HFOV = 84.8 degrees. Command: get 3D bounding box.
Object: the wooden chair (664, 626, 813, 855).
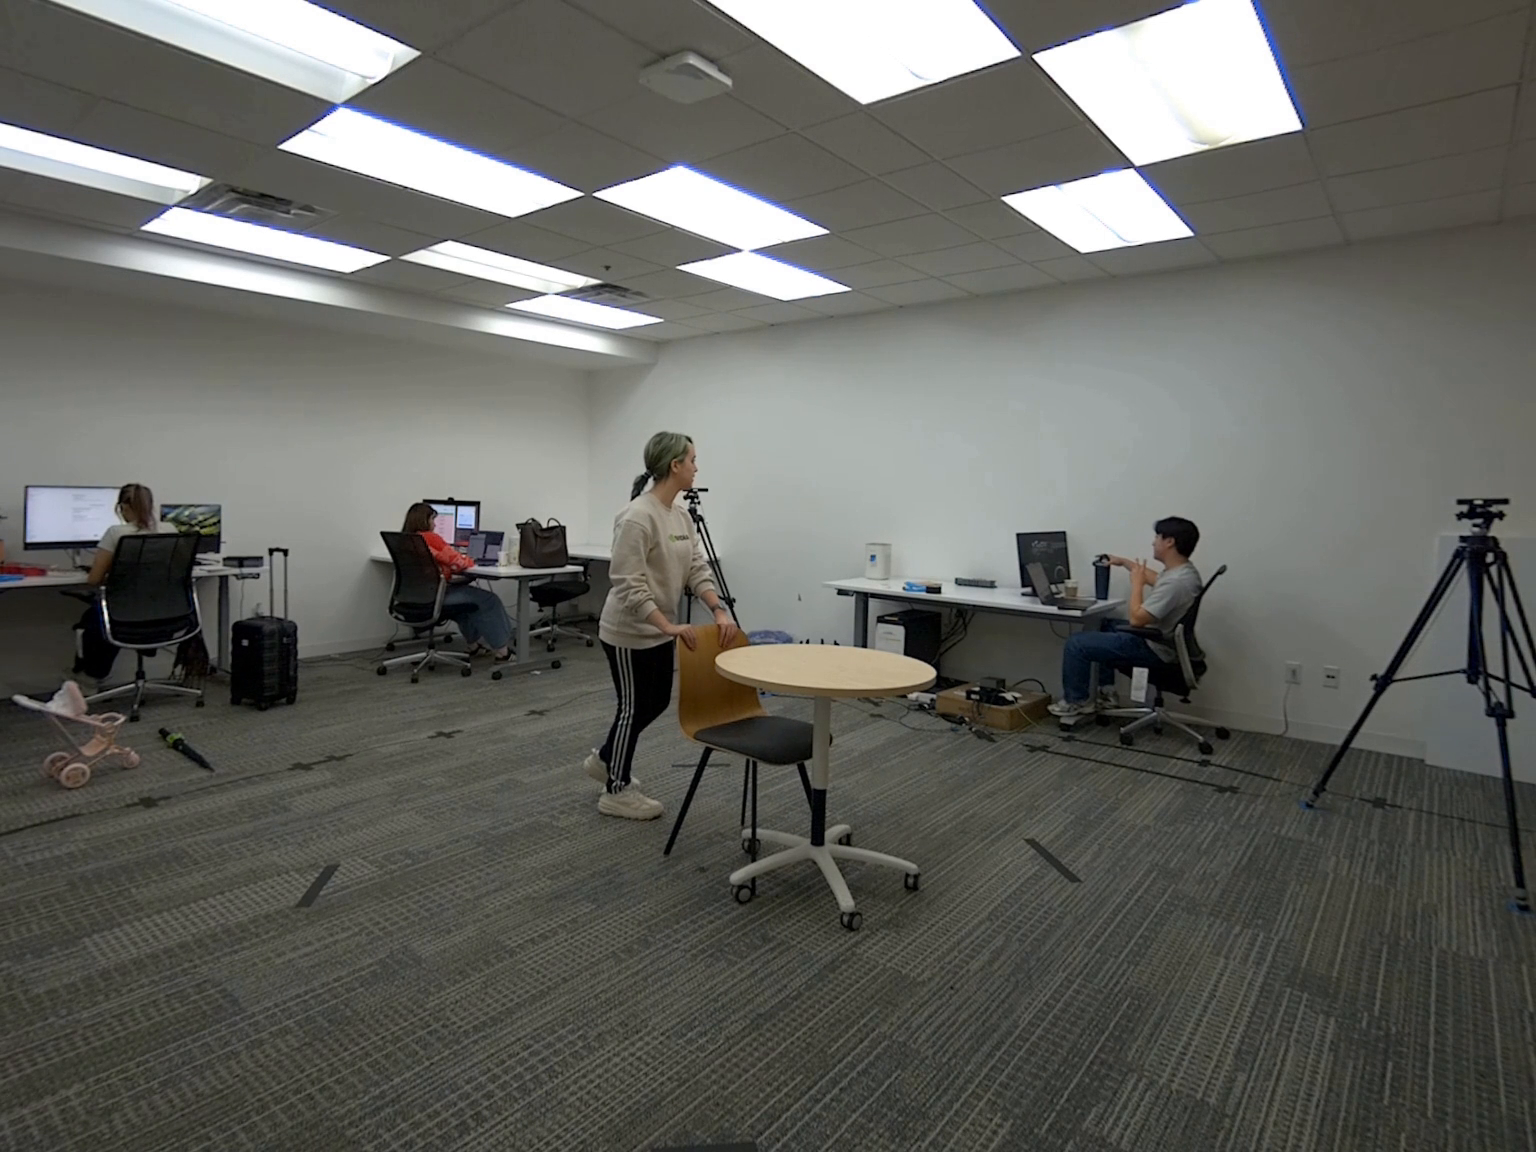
[{"bbox_3d":[-0.073,0.635,3.192,0.539,0.878,0.463,-2,0,43],"label":"wooden chair"}]
